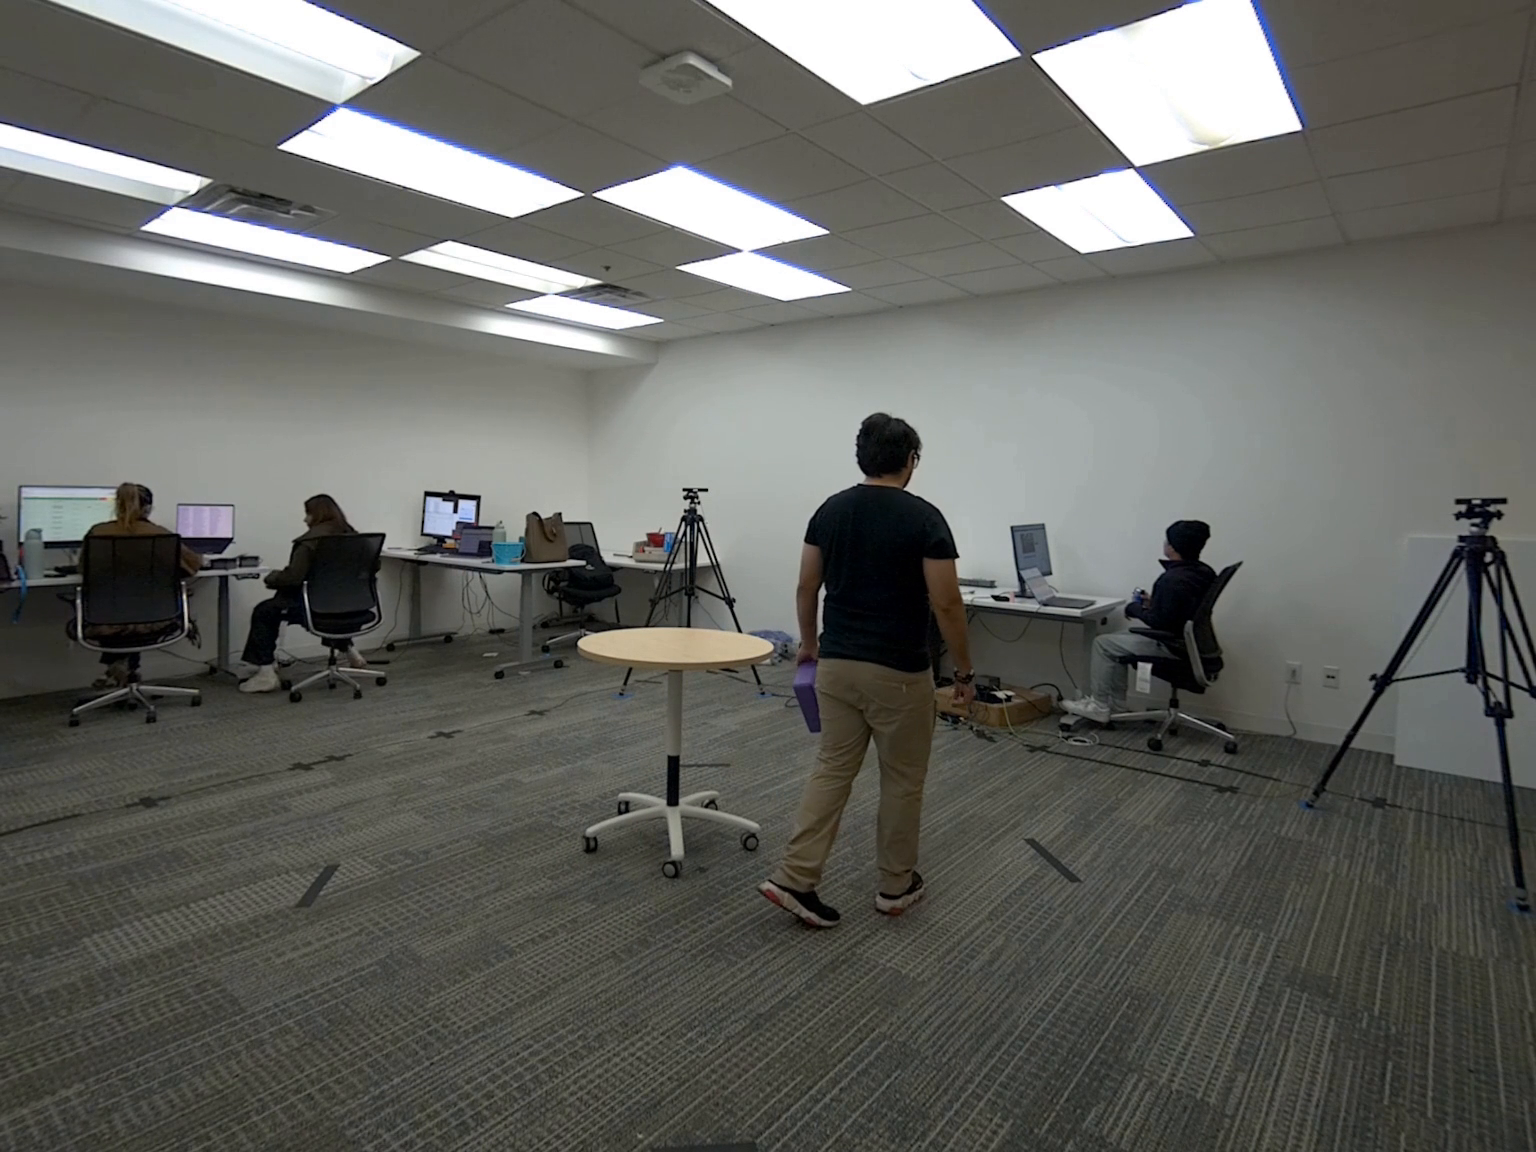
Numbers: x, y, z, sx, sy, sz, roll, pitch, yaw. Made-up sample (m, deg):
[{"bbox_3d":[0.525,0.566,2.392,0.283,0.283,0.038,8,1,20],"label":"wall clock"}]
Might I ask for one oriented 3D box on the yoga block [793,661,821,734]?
[{"bbox_3d":[0.159,0.436,3.098,0.078,0.223,0.150,-11,26,25],"label":"yoga block"}]
